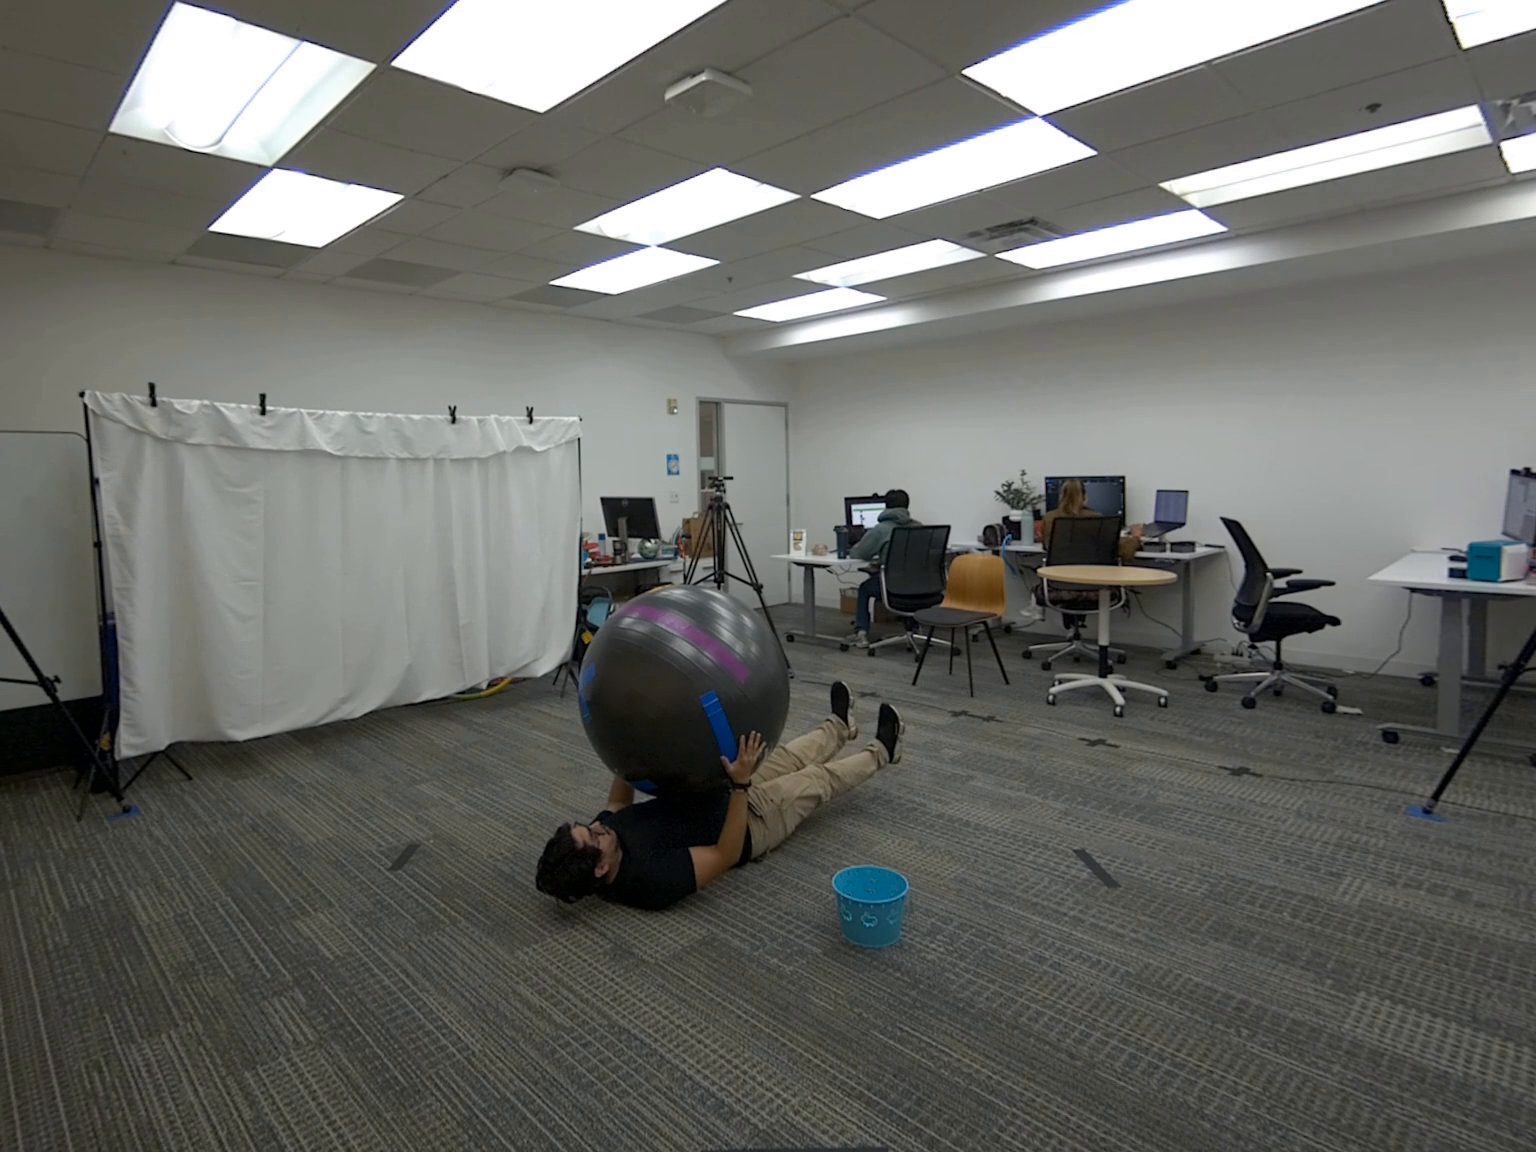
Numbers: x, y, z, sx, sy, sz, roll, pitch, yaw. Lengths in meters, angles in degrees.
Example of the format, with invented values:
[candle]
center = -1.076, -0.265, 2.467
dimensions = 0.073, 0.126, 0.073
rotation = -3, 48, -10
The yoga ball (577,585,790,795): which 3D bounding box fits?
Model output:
[yoga ball]
center = -0.297, 0.413, 3.072
dimensions = 0.757, 0.755, 0.761
rotation = -1, 4, -2
